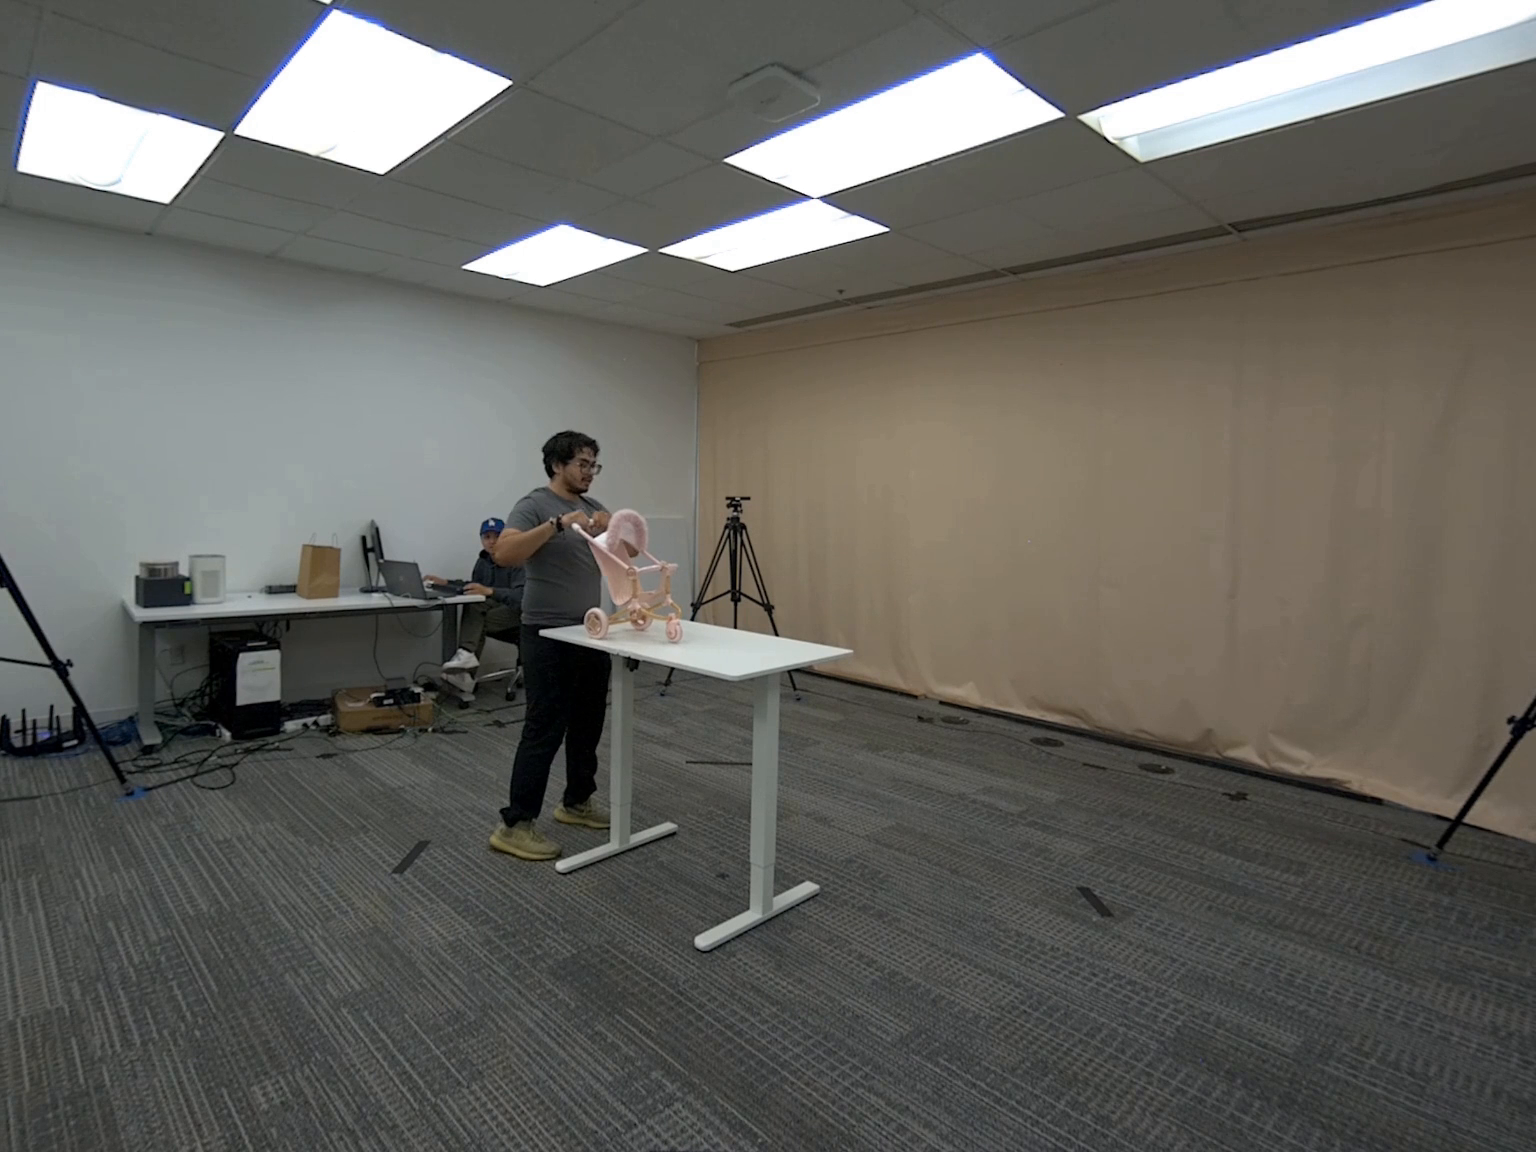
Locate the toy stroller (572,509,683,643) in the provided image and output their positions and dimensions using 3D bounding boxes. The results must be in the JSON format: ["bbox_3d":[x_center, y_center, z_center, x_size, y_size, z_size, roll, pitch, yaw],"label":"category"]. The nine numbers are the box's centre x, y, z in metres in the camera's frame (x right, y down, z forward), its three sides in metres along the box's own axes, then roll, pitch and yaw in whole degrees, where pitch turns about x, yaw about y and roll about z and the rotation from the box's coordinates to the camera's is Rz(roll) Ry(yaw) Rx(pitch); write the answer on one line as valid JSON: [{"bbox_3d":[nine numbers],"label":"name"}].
[{"bbox_3d":[-0.499,-0.002,3.035,0.347,0.538,0.275,-16,-8,36],"label":"toy stroller"}]
